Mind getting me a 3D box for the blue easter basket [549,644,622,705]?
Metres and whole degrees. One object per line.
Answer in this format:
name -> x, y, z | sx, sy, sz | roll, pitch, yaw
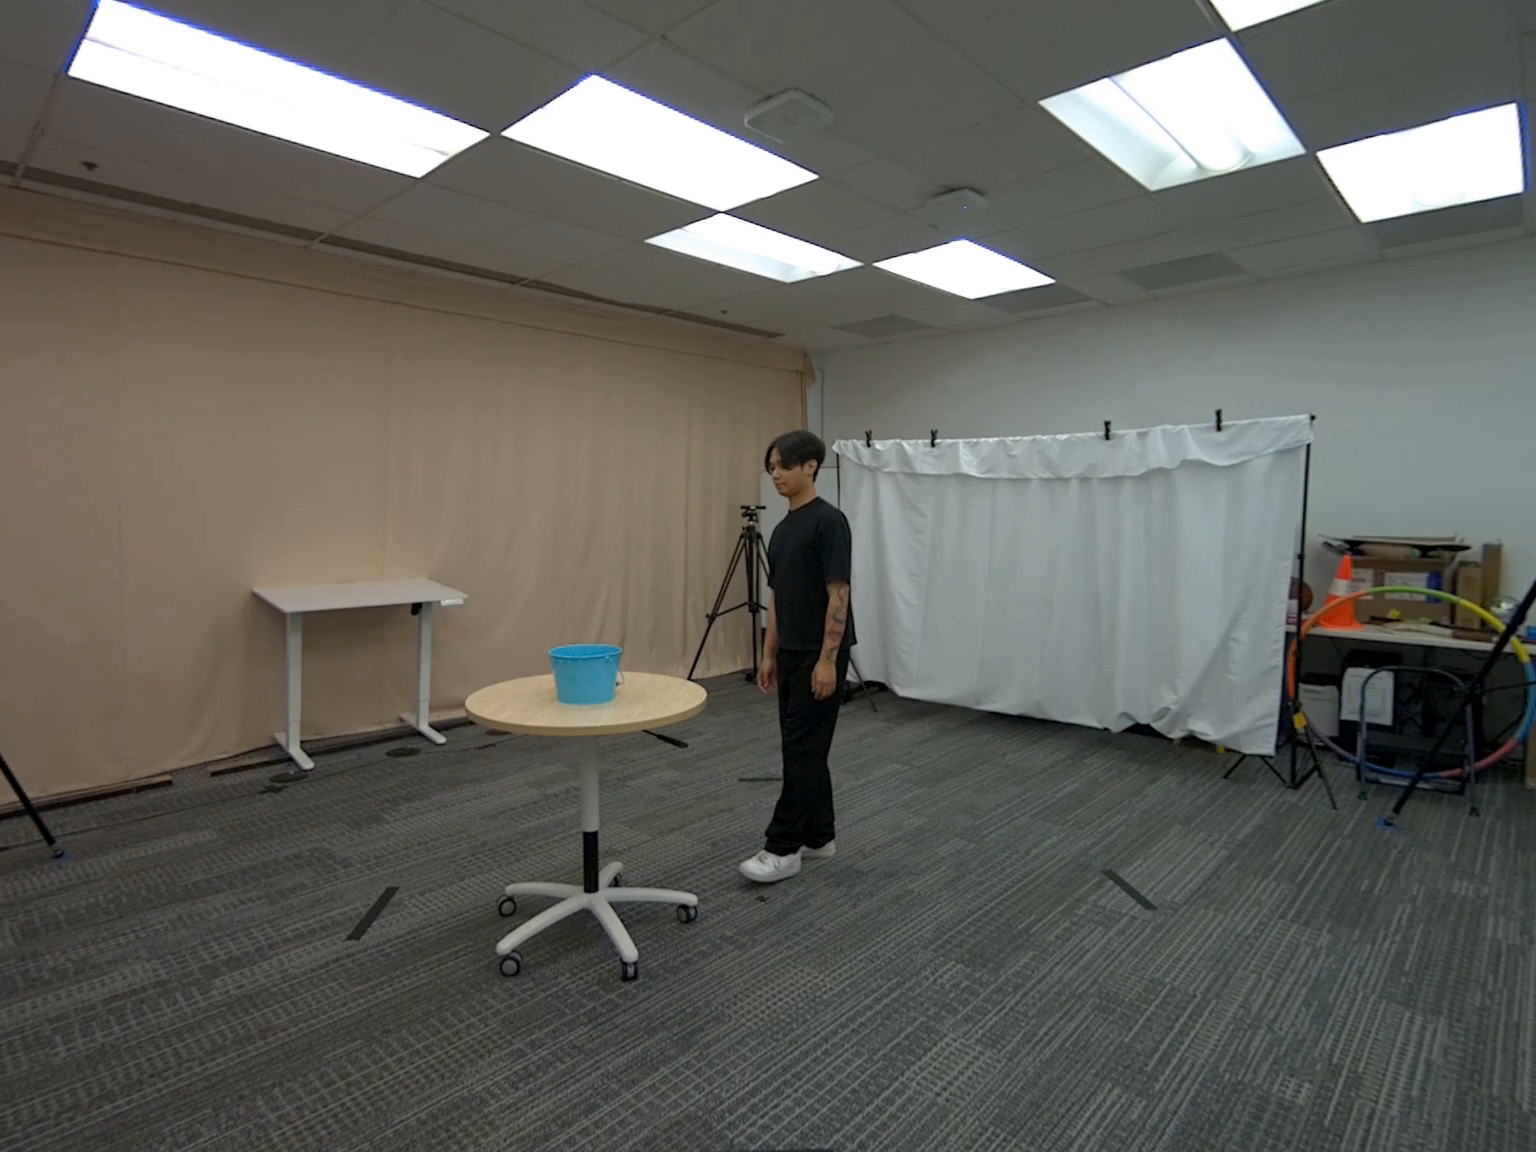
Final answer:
blue easter basket -> -0.581, 0.317, 2.669 | 0.243, 0.155, 0.244 | -1, 5, -2
